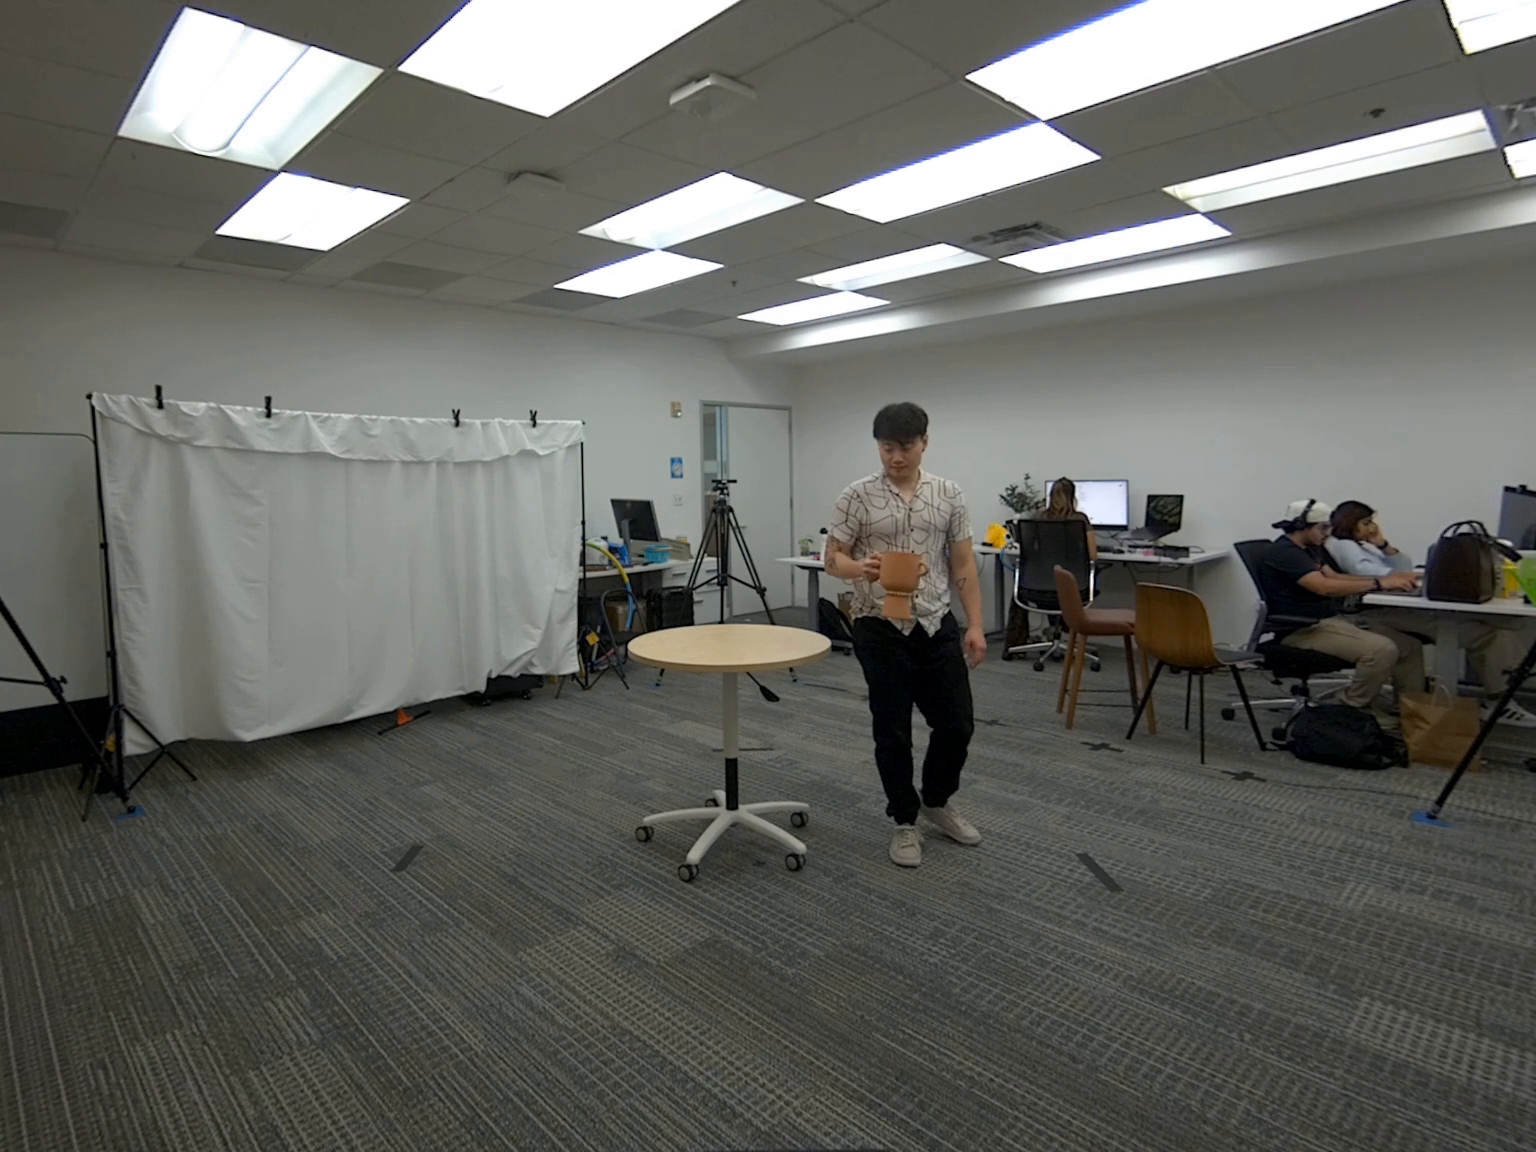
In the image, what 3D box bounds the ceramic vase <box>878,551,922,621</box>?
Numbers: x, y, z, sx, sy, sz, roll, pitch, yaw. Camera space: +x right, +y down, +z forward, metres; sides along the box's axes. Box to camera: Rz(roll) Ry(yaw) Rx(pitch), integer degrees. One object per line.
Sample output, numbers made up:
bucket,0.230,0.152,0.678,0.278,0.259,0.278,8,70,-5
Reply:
ceramic vase,0.443,0.033,2.853,0.132,0.219,0.161,5,2,-16
